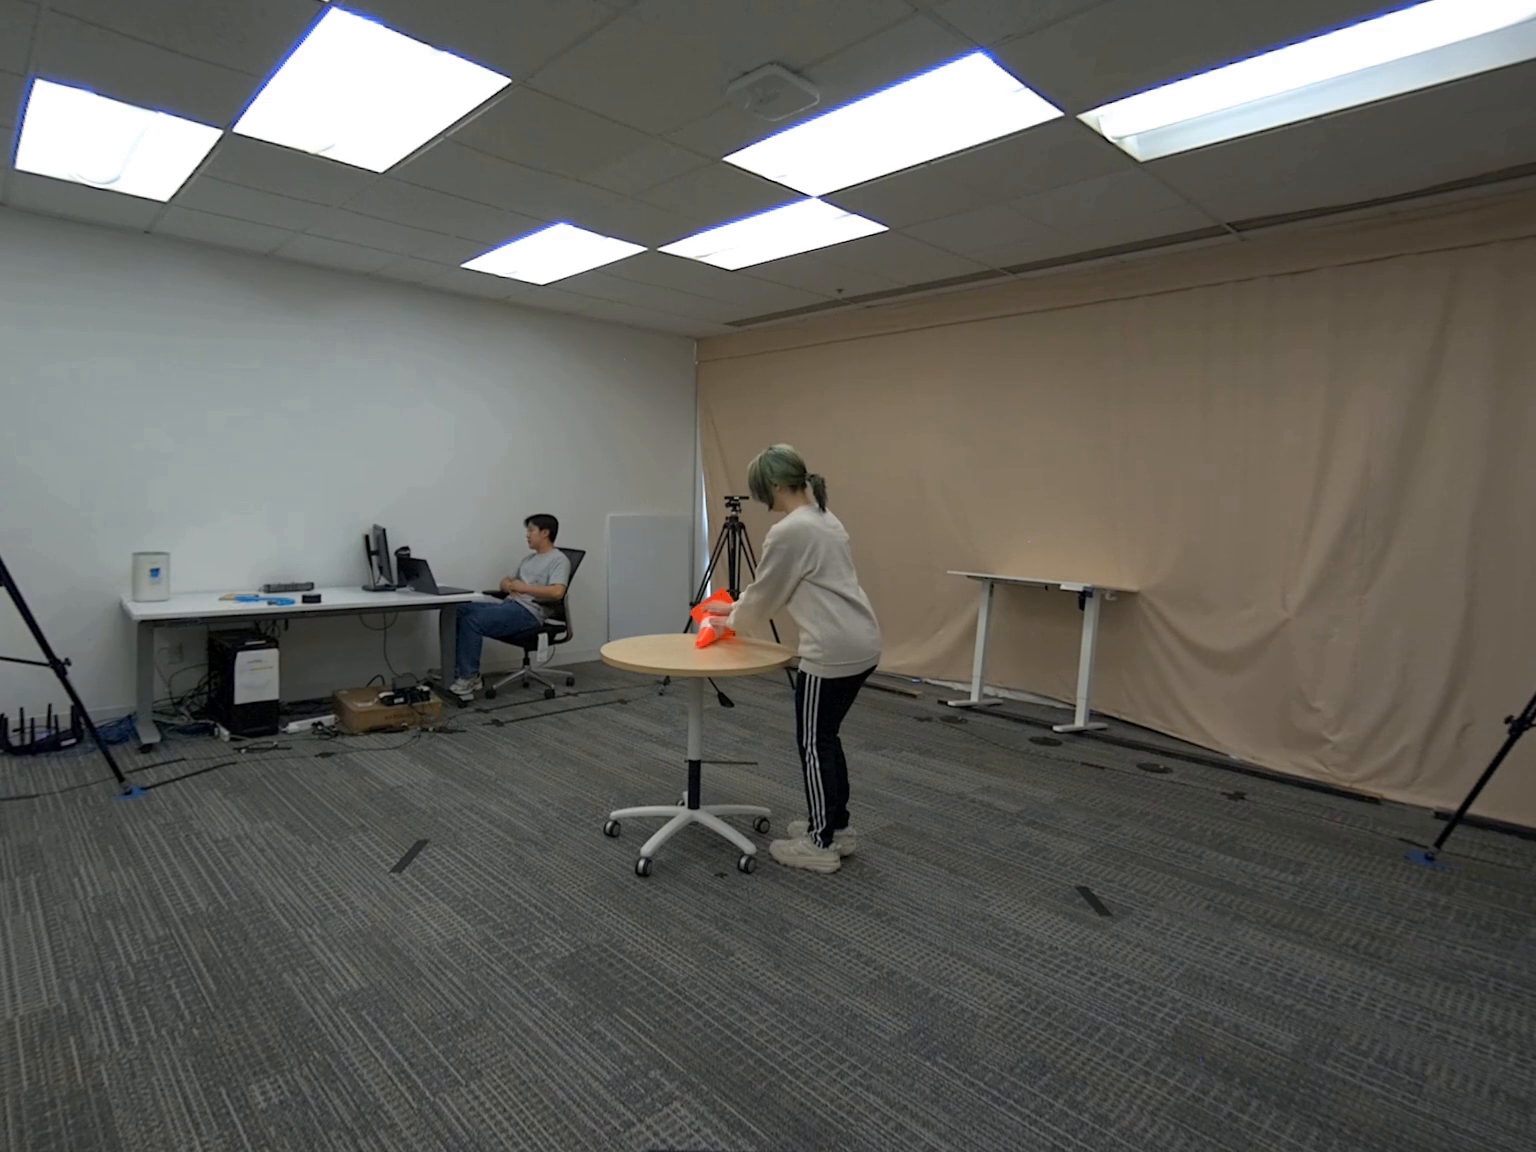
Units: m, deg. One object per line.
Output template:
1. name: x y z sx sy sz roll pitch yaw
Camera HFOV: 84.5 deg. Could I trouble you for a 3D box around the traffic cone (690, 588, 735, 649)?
1. traffic cone: -0.255 0.234 3.556 0.205 0.203 0.384 -39 5 18
